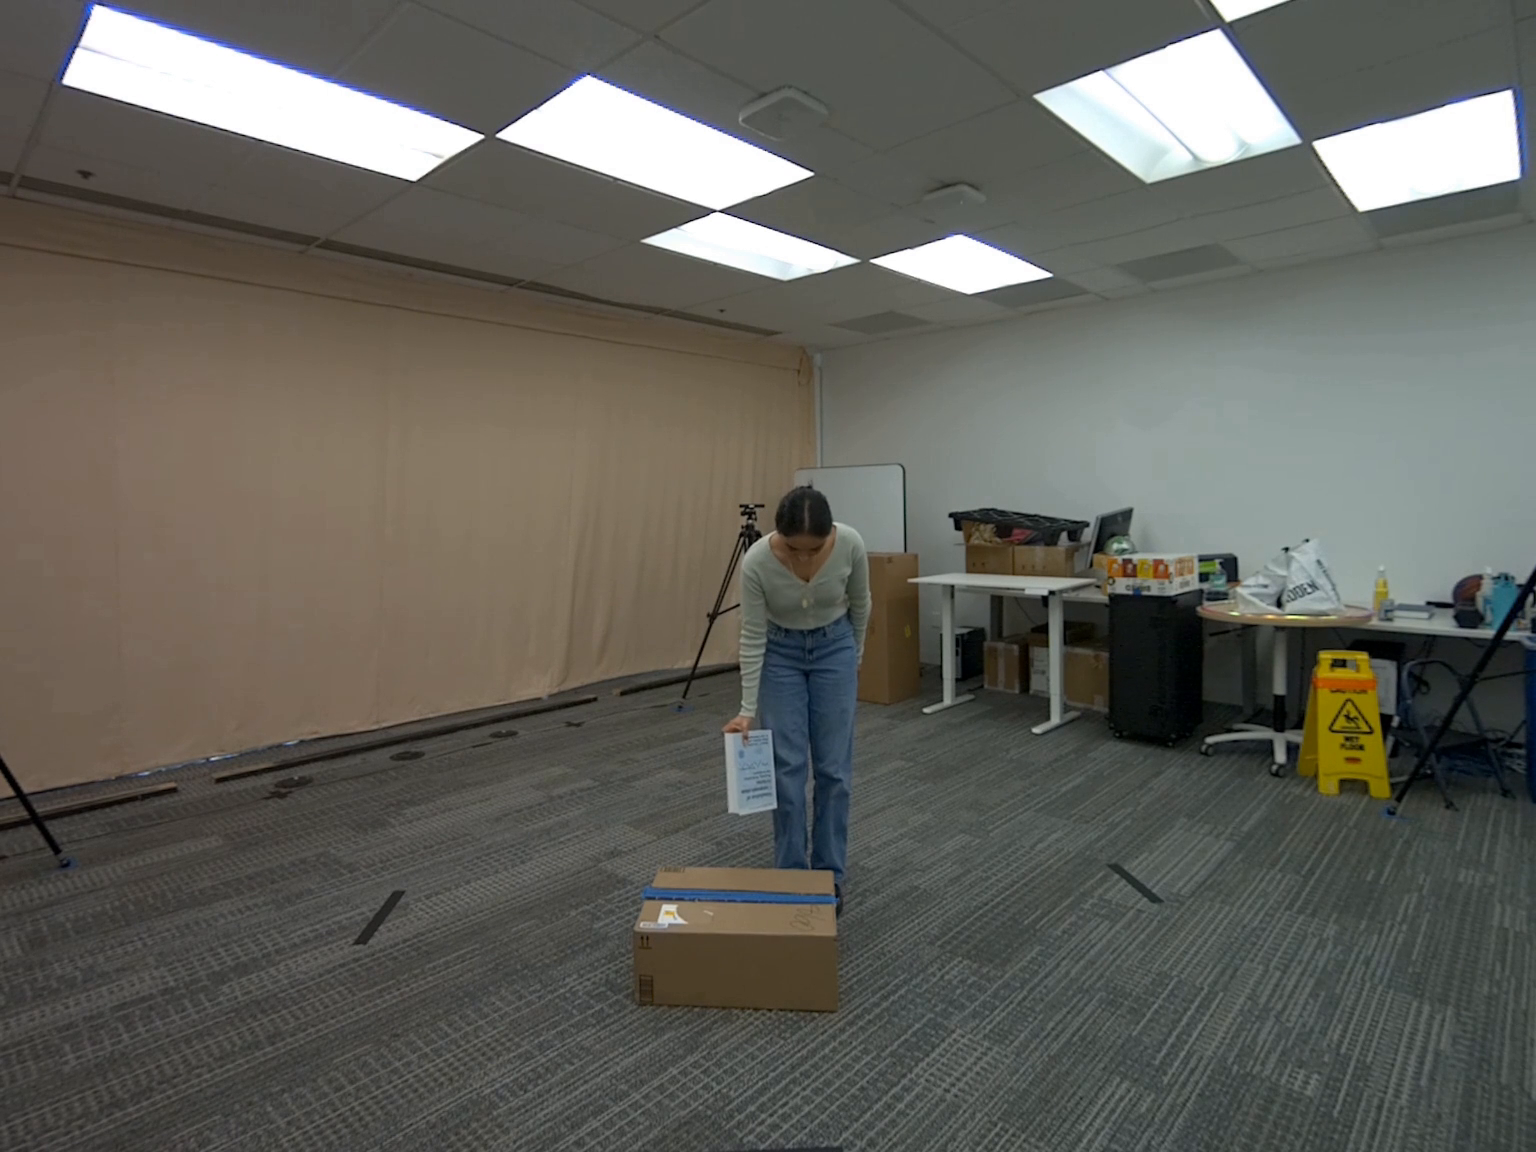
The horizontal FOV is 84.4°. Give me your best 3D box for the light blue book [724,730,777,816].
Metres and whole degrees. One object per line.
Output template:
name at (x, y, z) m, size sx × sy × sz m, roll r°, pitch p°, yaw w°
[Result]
light blue book at (-0.061, 0.663, 2.856) m, size 0.060 × 0.263 × 0.185 m, roll -12°, pitch -12°, yaw 43°
